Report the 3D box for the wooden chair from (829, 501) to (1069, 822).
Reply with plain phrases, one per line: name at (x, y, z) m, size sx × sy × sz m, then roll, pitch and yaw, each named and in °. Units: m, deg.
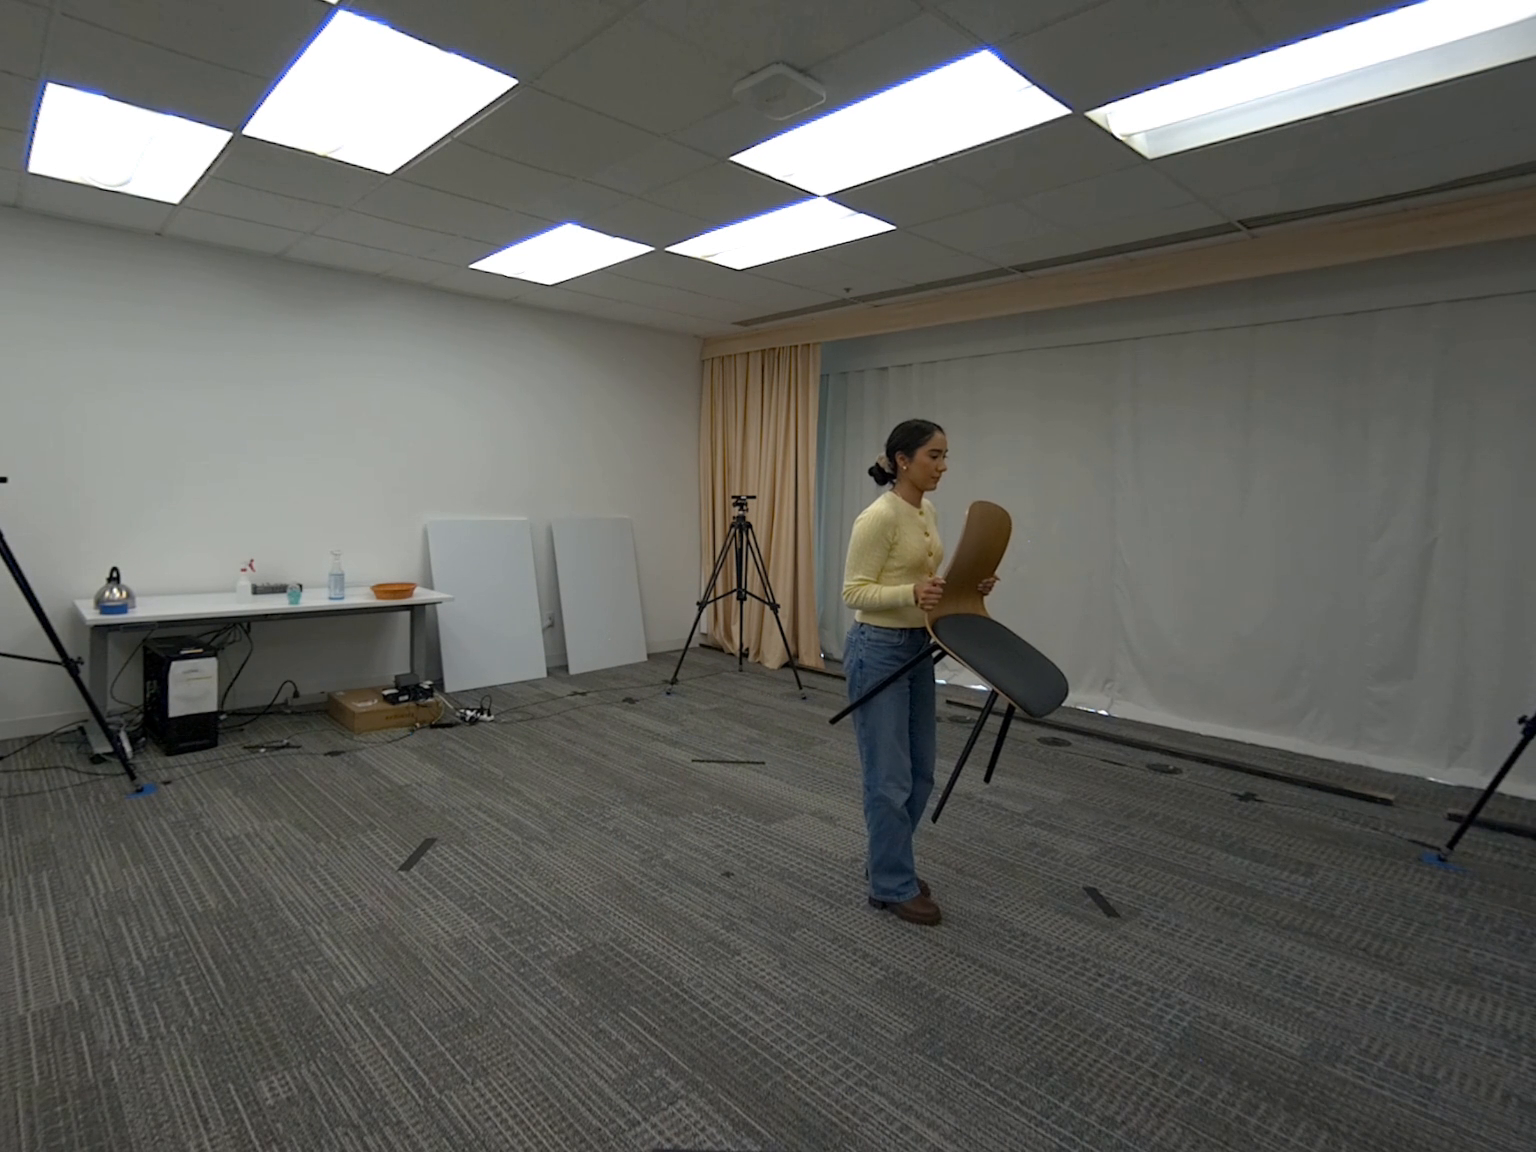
wooden chair at (0.674, 0.270, 2.672) m, size 0.538 × 0.872 × 0.468 m, roll 37°, pitch 22°, yaw 28°
